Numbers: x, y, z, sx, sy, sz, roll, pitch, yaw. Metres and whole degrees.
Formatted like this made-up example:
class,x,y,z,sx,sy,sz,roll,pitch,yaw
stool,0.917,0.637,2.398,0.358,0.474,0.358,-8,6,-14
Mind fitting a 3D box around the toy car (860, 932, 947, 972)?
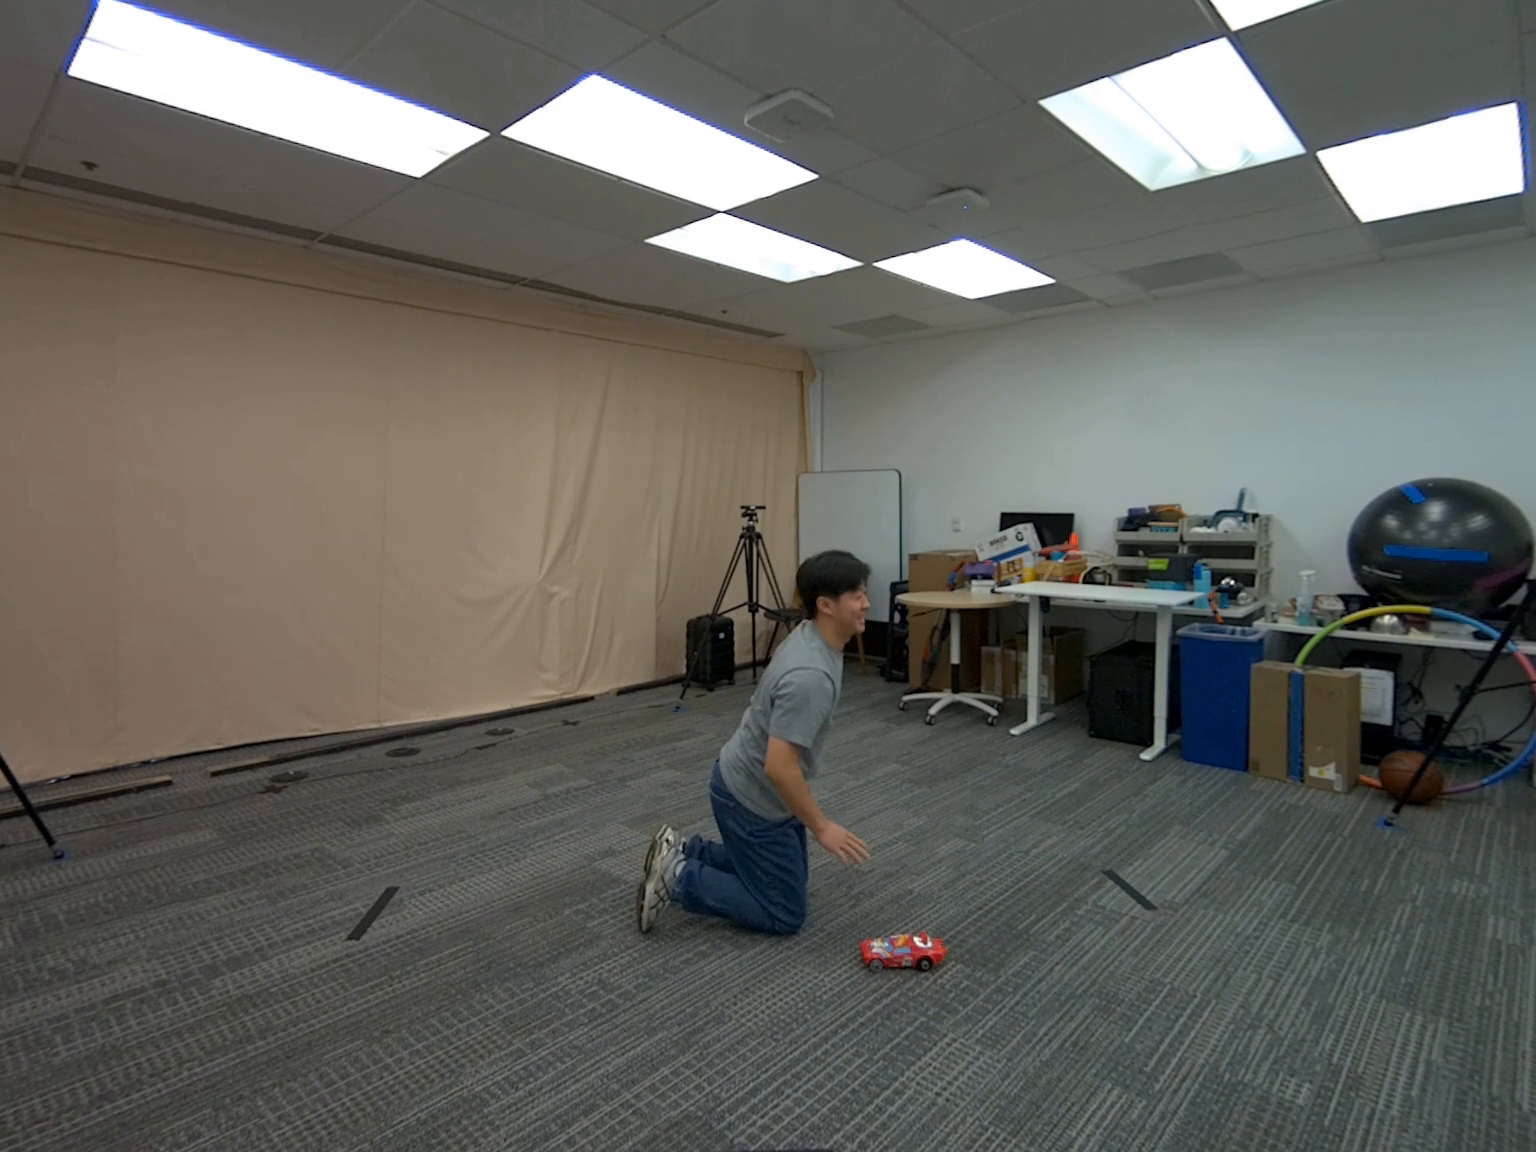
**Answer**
class,x,y,z,sx,sy,sz,roll,pitch,yaw
toy car,0.423,1.149,2.550,0.254,0.083,0.131,-11,4,-2
